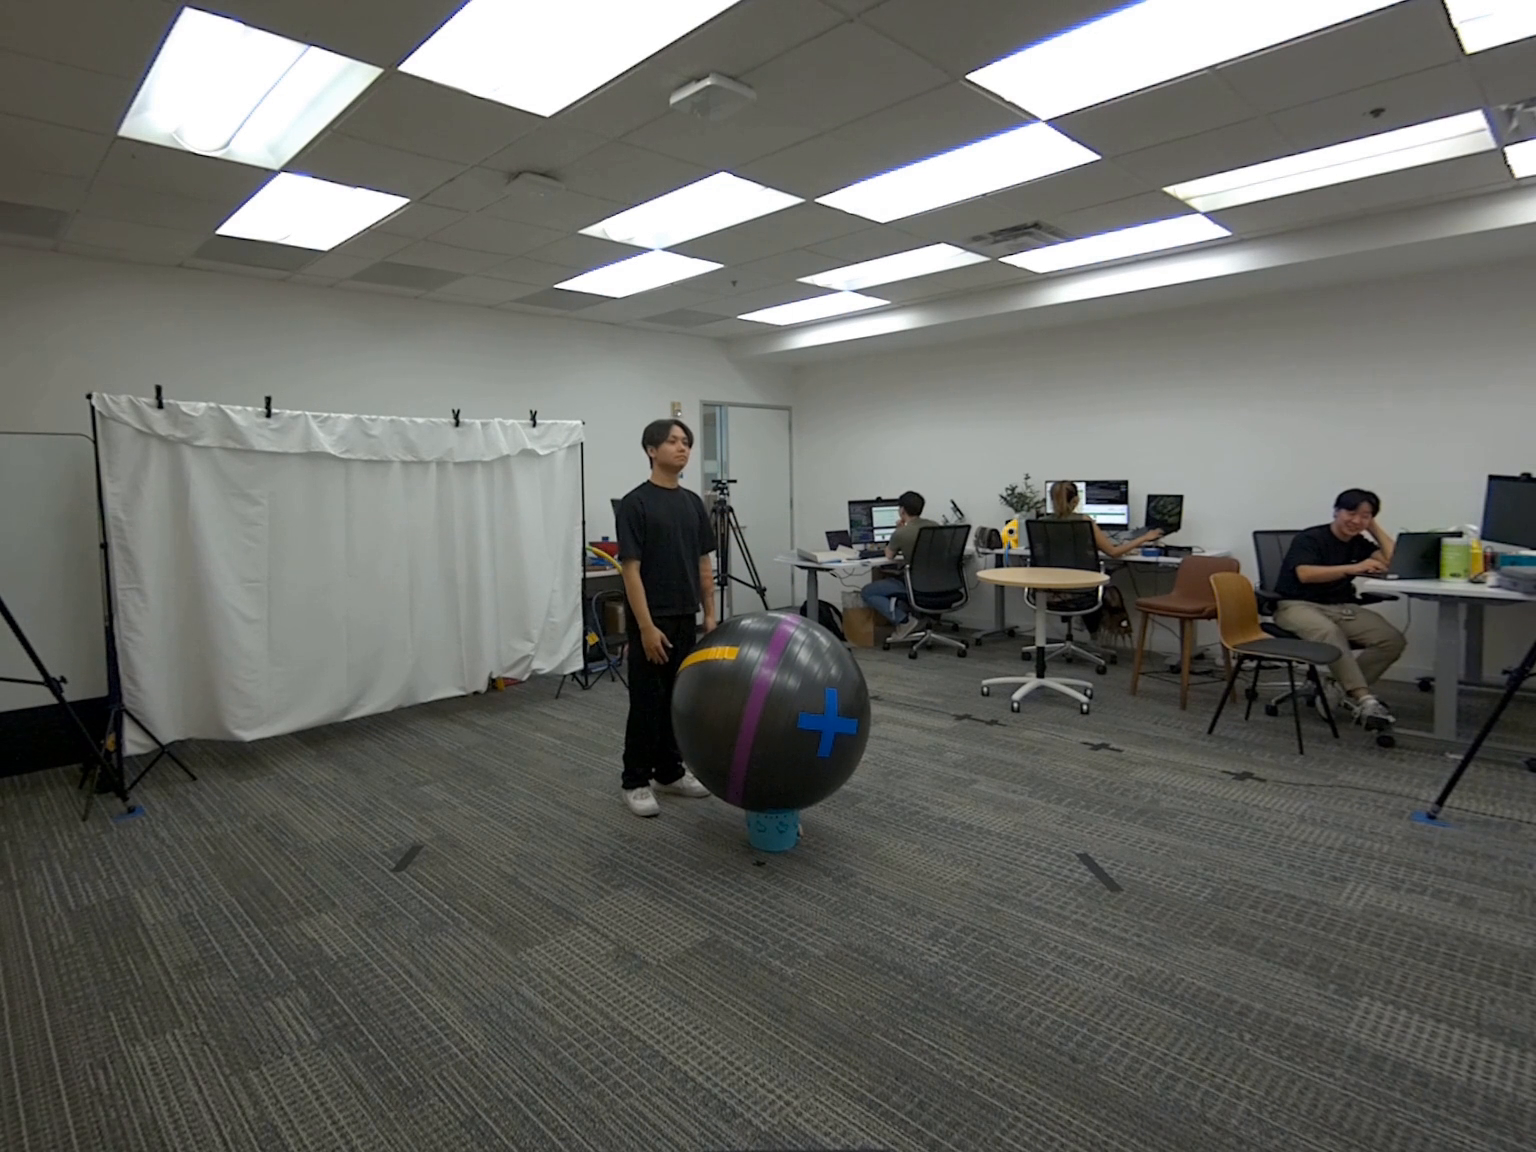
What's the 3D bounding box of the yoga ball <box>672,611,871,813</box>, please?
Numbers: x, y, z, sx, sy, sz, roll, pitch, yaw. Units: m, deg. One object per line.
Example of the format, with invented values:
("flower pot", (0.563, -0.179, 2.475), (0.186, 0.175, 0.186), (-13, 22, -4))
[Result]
("yoga ball", (0.010, 0.515, 3.271), (0.757, 0.755, 0.762), (-1, 5, -2))
